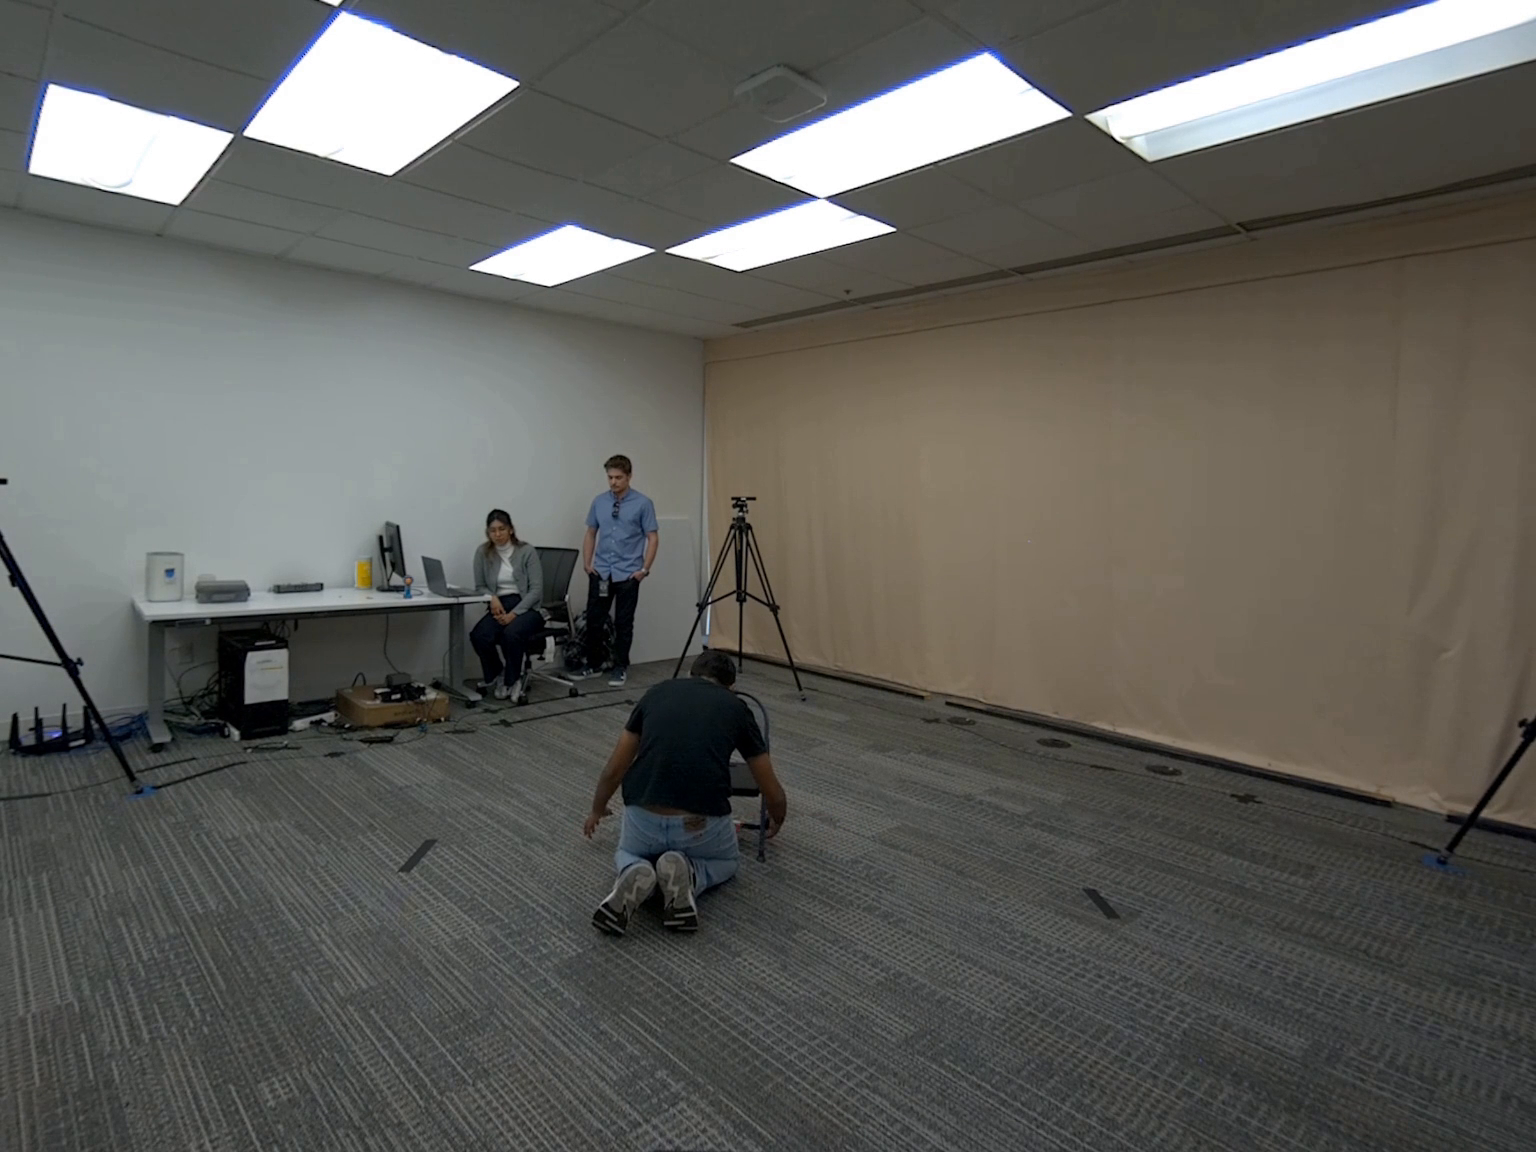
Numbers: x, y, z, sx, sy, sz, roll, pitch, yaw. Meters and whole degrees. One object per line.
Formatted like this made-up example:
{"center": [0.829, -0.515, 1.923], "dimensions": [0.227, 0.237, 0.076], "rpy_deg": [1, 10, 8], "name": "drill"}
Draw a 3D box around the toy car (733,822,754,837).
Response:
{"center": [-0.221, 1.048, 3.436], "dimensions": [0.255, 0.083, 0.130], "rpy_deg": [-6, 3, 3], "name": "toy car"}
